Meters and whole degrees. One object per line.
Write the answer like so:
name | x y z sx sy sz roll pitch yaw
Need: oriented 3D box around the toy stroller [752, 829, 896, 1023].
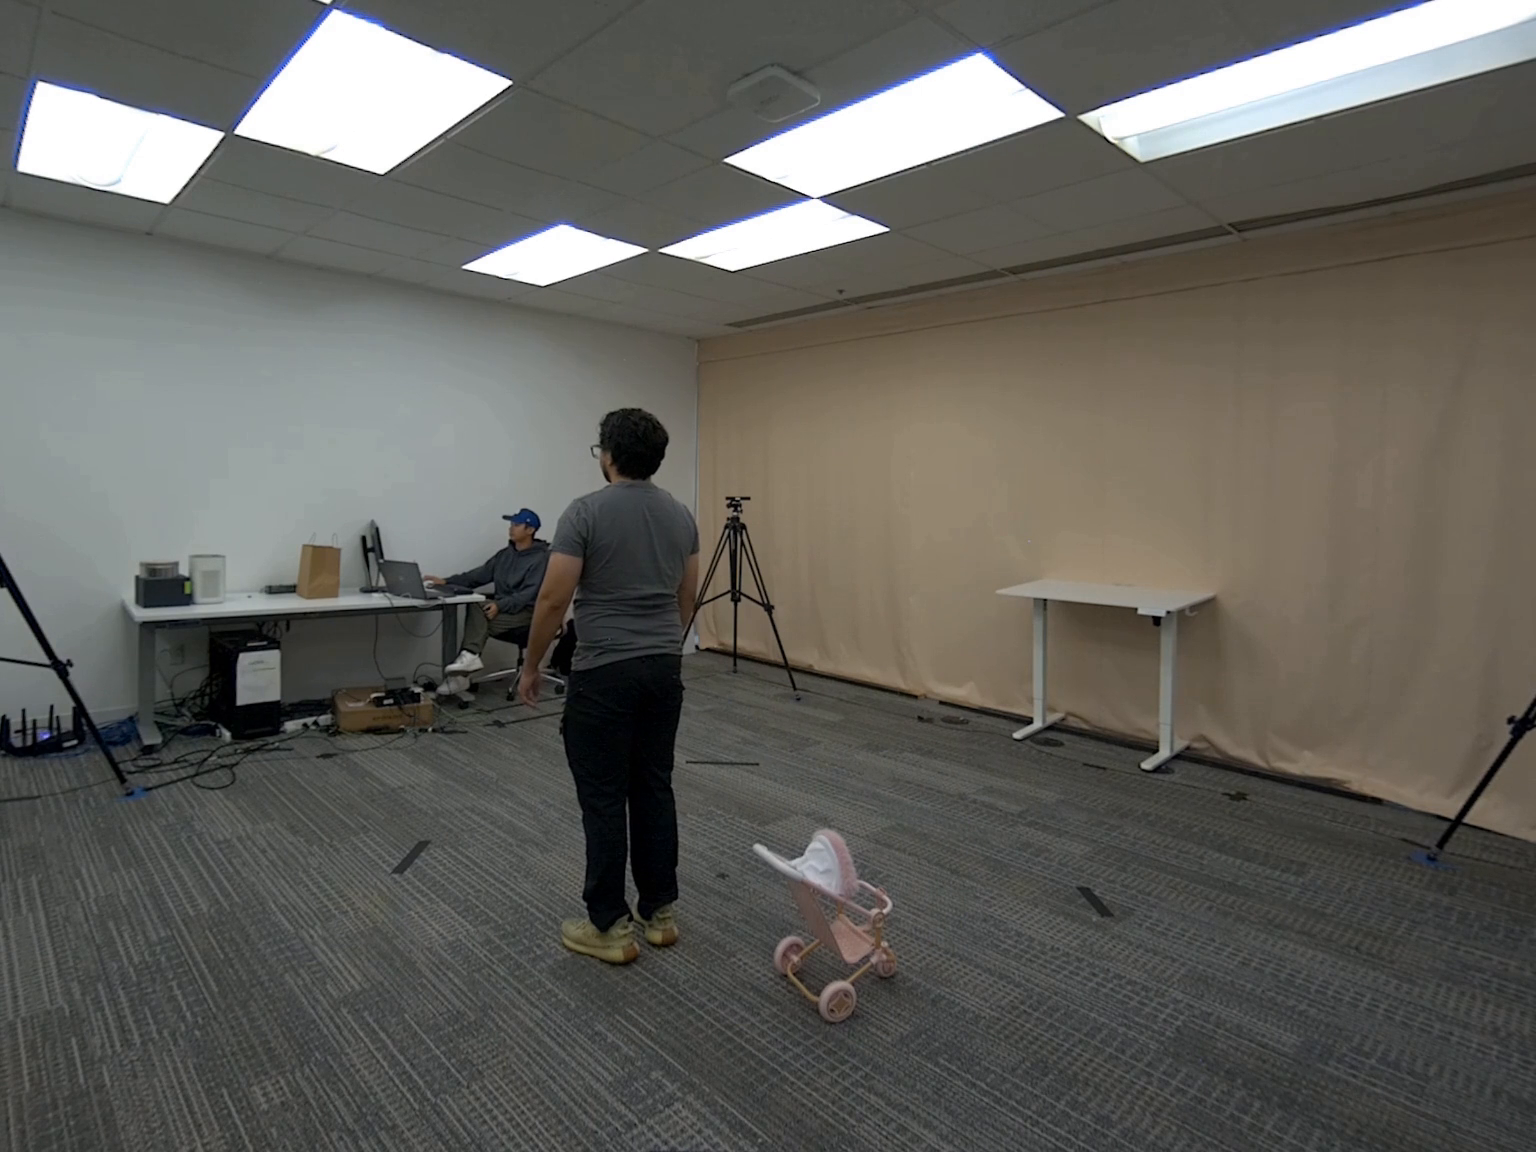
toy stroller | 0.184 0.957 2.373 0.337 0.530 0.287 -17 10 -23
